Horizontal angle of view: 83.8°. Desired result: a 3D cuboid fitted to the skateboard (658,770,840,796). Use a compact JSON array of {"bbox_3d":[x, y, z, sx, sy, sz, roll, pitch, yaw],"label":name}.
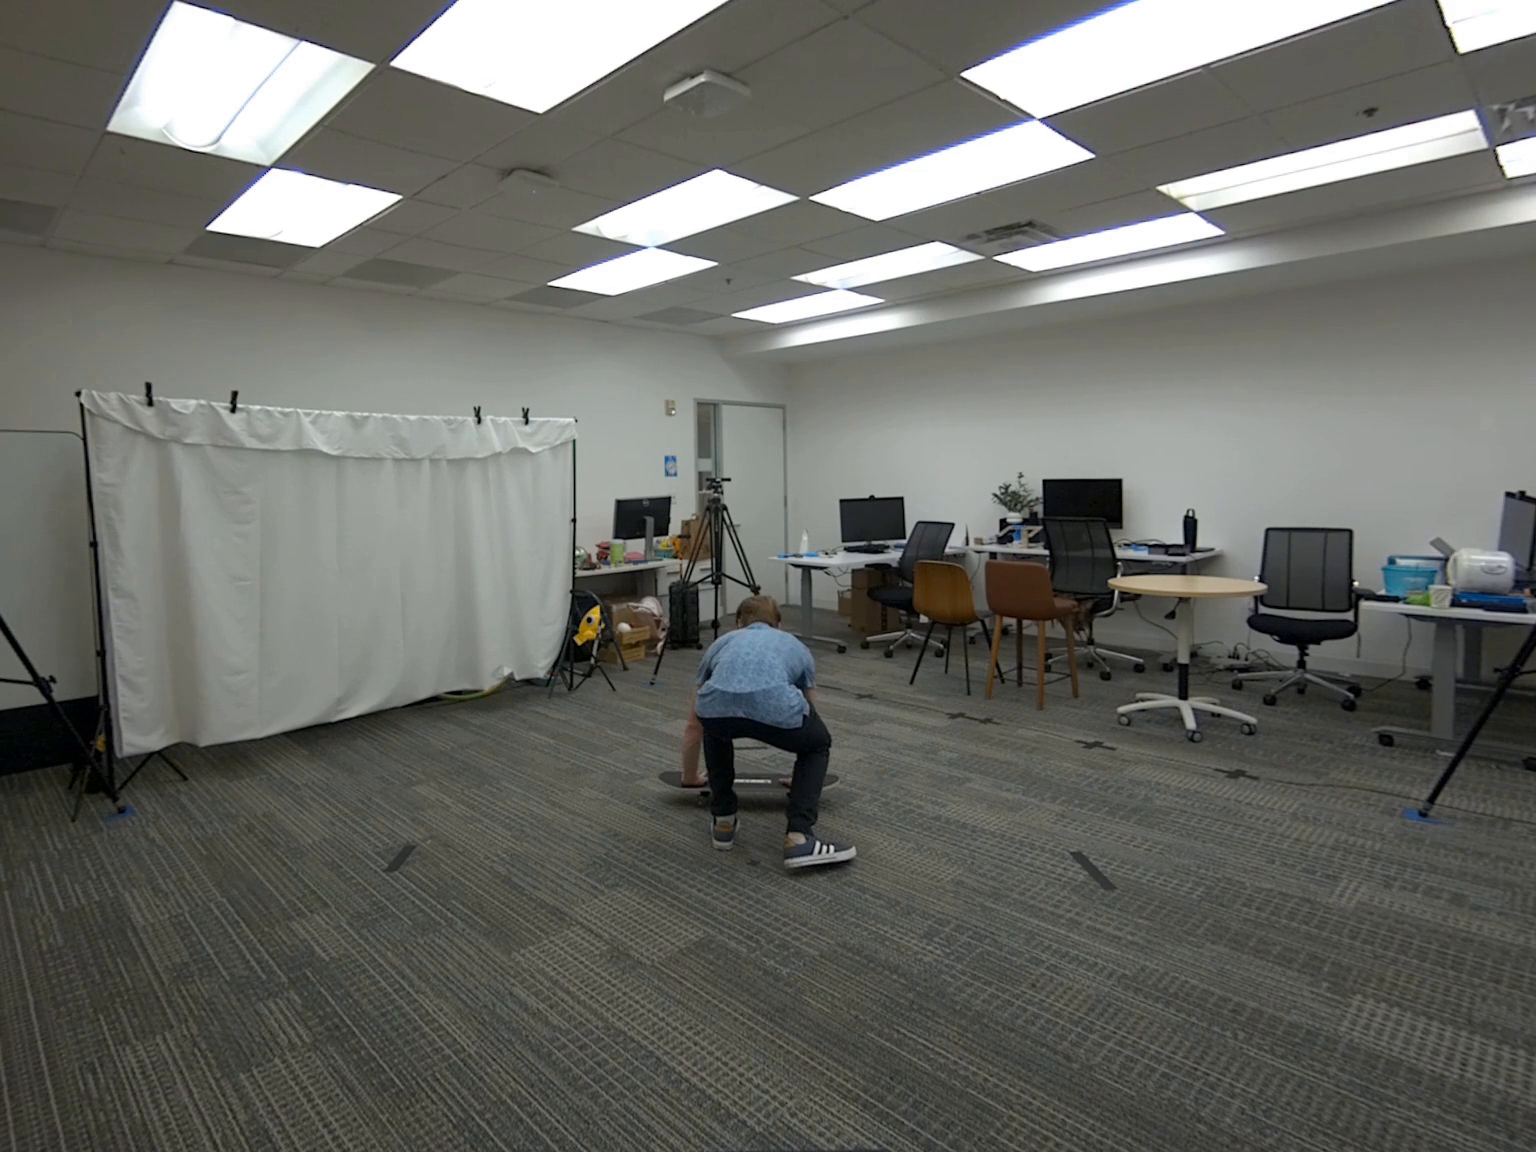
[{"bbox_3d":[-0.082,0.916,3.695,0.790,0.110,0.193,0,4,6],"label":"skateboard"}]
